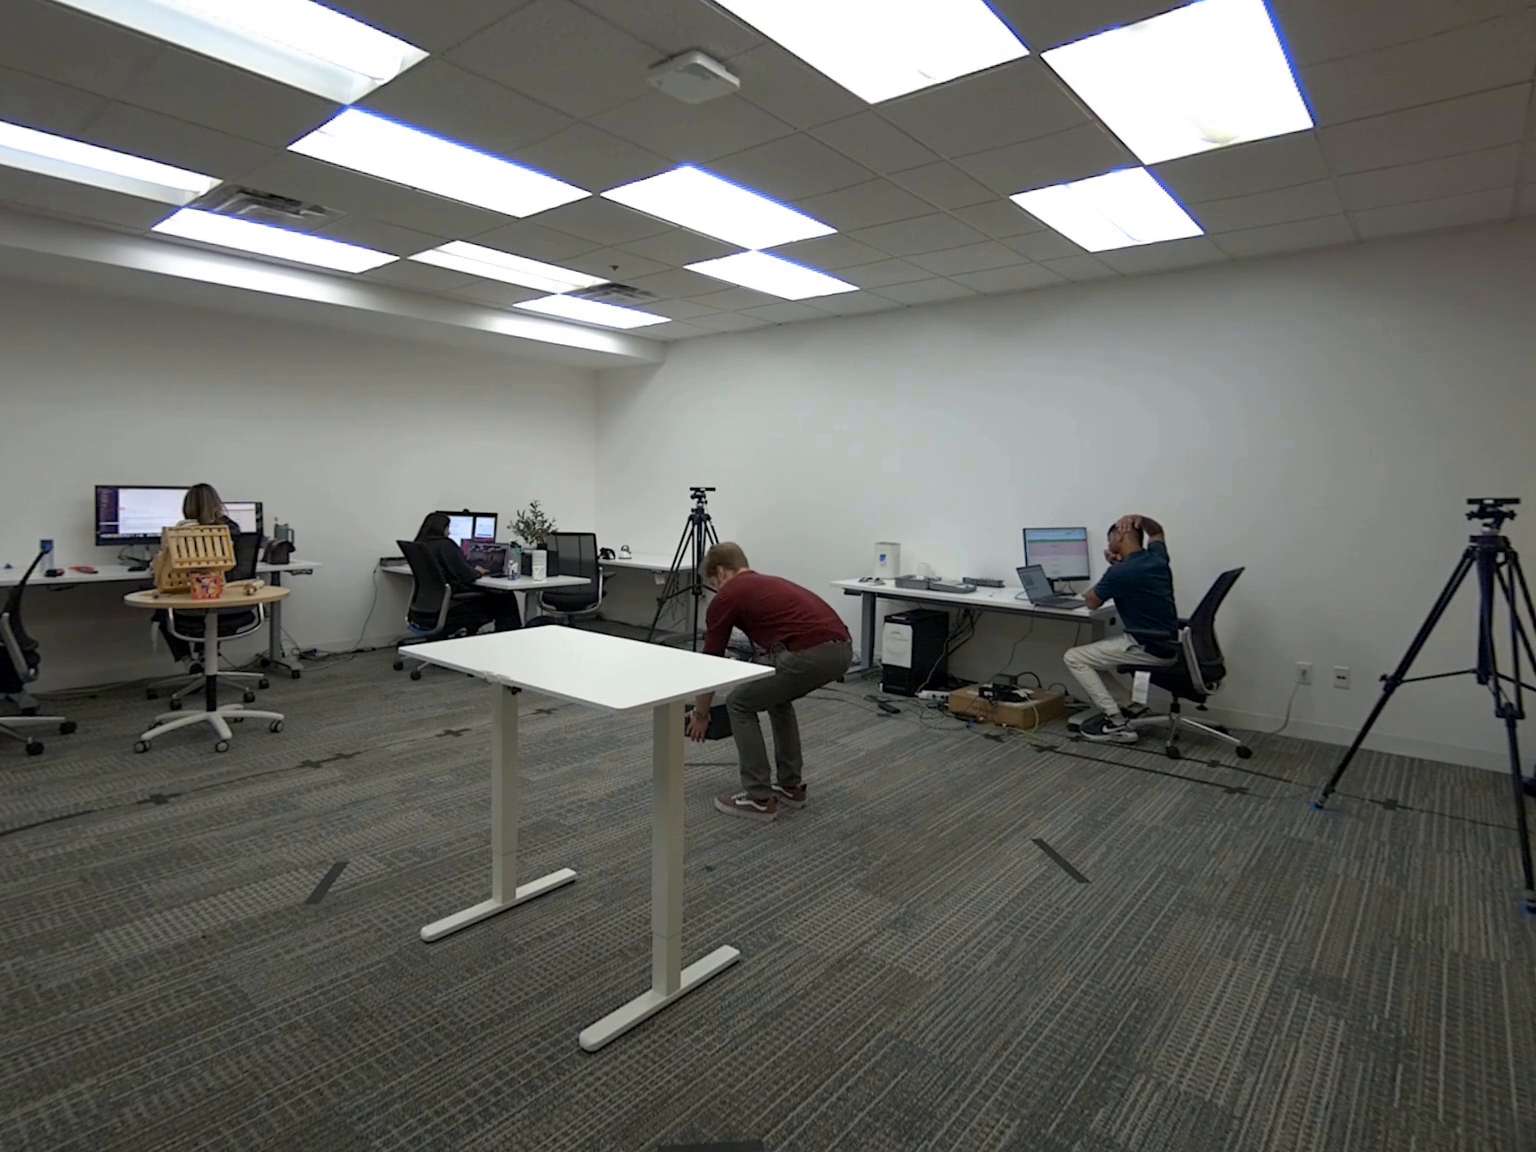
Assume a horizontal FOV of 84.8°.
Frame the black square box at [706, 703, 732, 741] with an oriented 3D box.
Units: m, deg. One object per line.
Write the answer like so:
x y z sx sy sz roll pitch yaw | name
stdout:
-0.250 0.653 3.989 0.223 0.156 0.221 -4 1 44 | black square box
